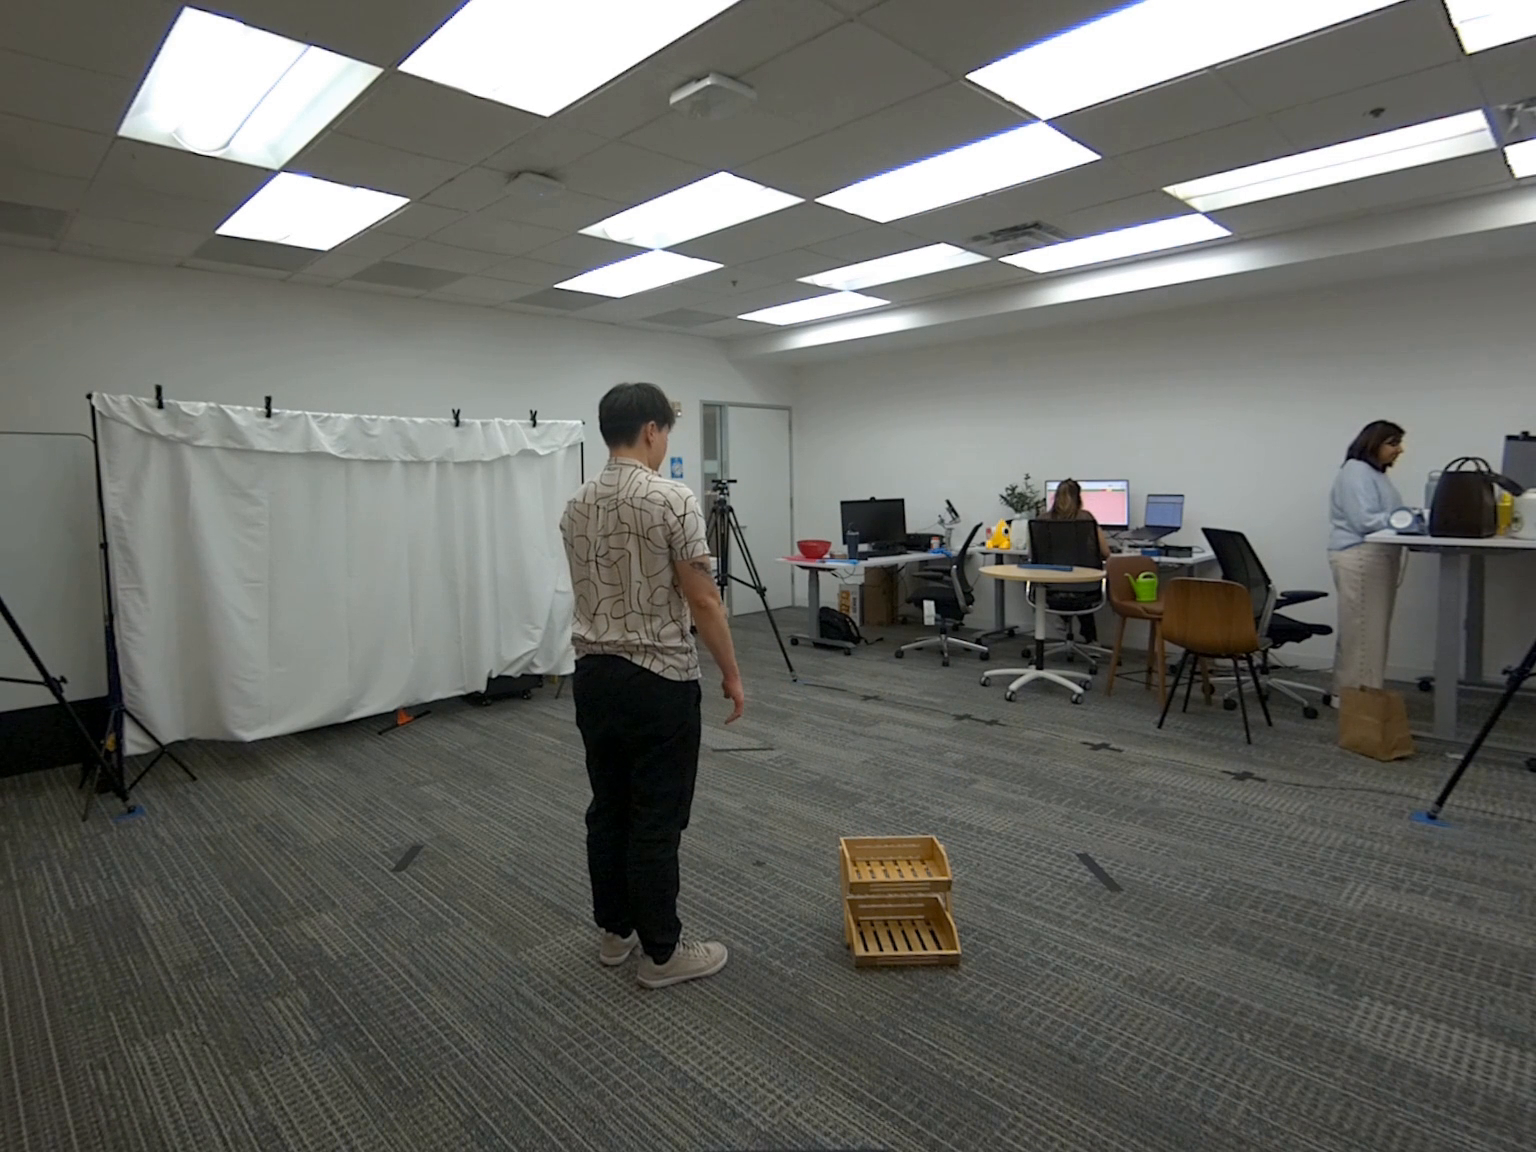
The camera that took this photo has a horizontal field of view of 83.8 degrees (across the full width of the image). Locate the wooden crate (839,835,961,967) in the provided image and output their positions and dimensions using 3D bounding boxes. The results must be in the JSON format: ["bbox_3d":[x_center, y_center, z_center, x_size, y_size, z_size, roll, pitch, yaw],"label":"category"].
[{"bbox_3d":[0.395,0.971,2.555,0.324,0.272,0.304,-1,6,-3],"label":"wooden crate"}]
